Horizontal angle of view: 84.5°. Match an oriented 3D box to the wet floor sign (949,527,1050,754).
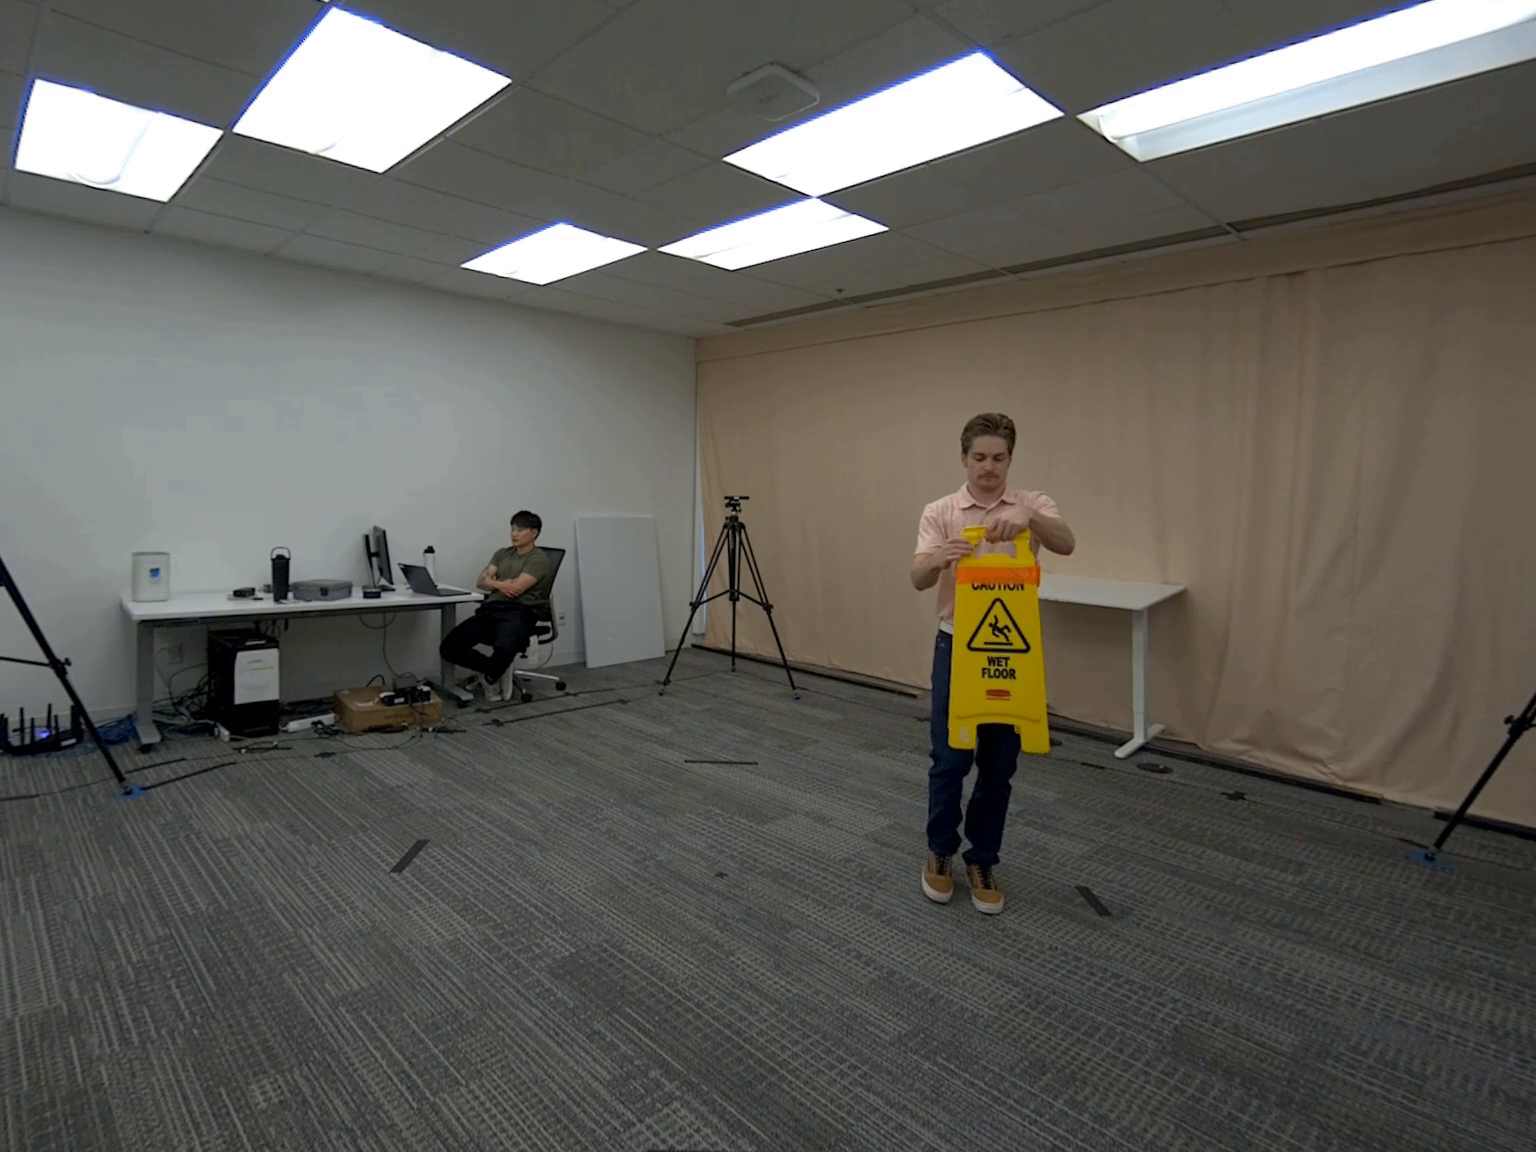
[{"bbox_3d":[0.686,0.185,2.549,0.285,0.645,0.287,3,2,11],"label":"wet floor sign"}]
